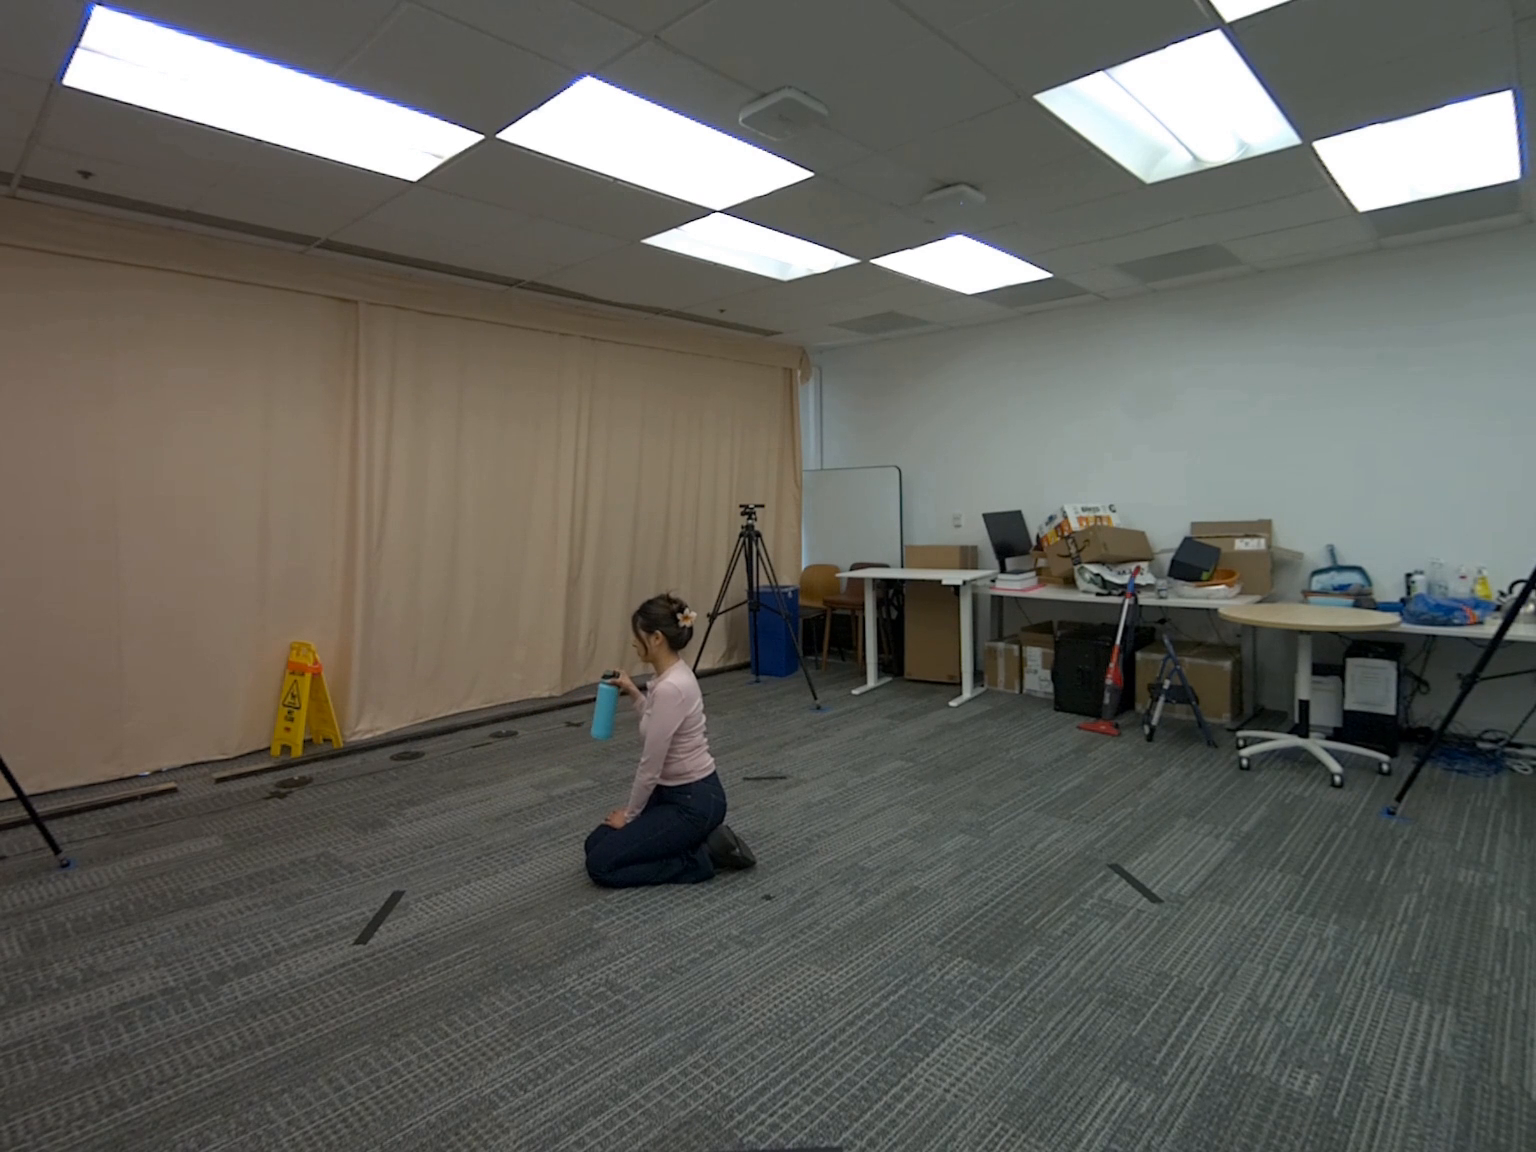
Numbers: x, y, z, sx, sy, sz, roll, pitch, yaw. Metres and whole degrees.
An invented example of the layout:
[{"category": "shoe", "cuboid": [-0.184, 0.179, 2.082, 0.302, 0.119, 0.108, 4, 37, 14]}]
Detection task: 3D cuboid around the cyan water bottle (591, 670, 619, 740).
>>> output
[{"category": "cyan water bottle", "cuboid": [-0.684, 0.544, 3.554, 0.092, 0.283, 0.092, 8, 2, -2]}]
